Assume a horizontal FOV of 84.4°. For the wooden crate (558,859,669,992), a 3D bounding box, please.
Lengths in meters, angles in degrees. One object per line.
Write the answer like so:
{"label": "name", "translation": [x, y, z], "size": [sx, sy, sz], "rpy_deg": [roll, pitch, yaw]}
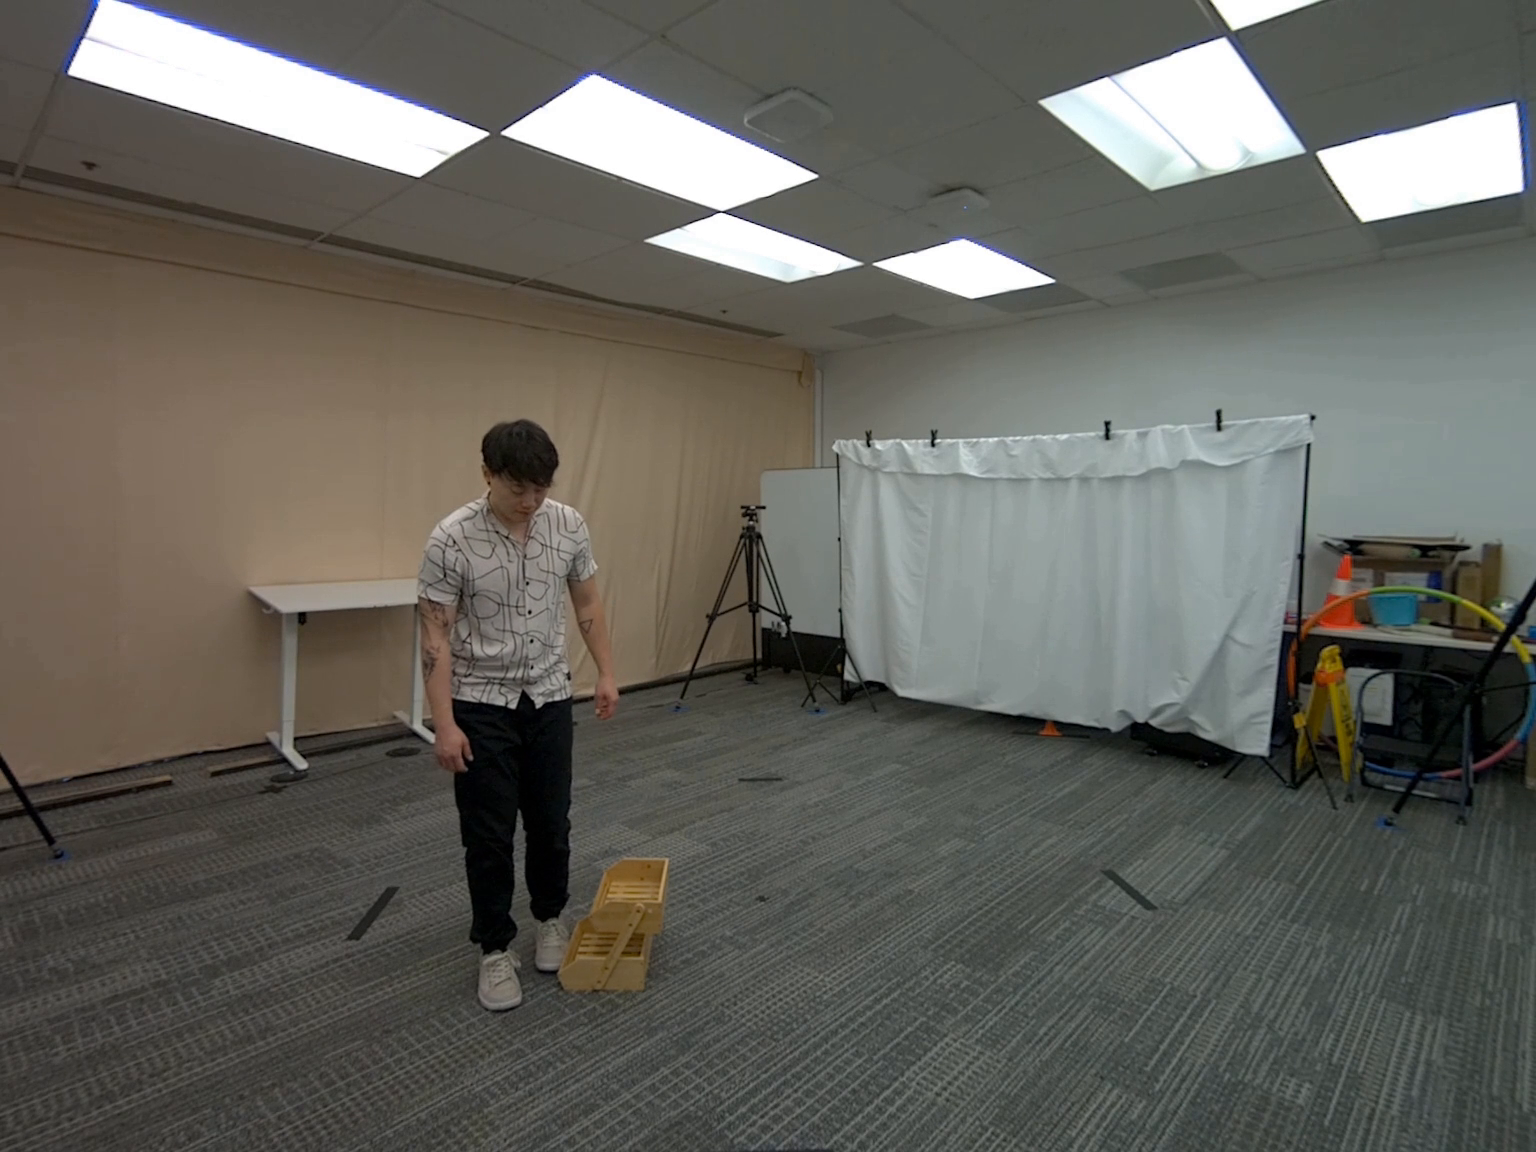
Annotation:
{"label": "wooden crate", "translation": [-0.465, 1.053, 2.555], "size": [0.302, 0.273, 0.325], "rpy_deg": [0, 4, -2]}
